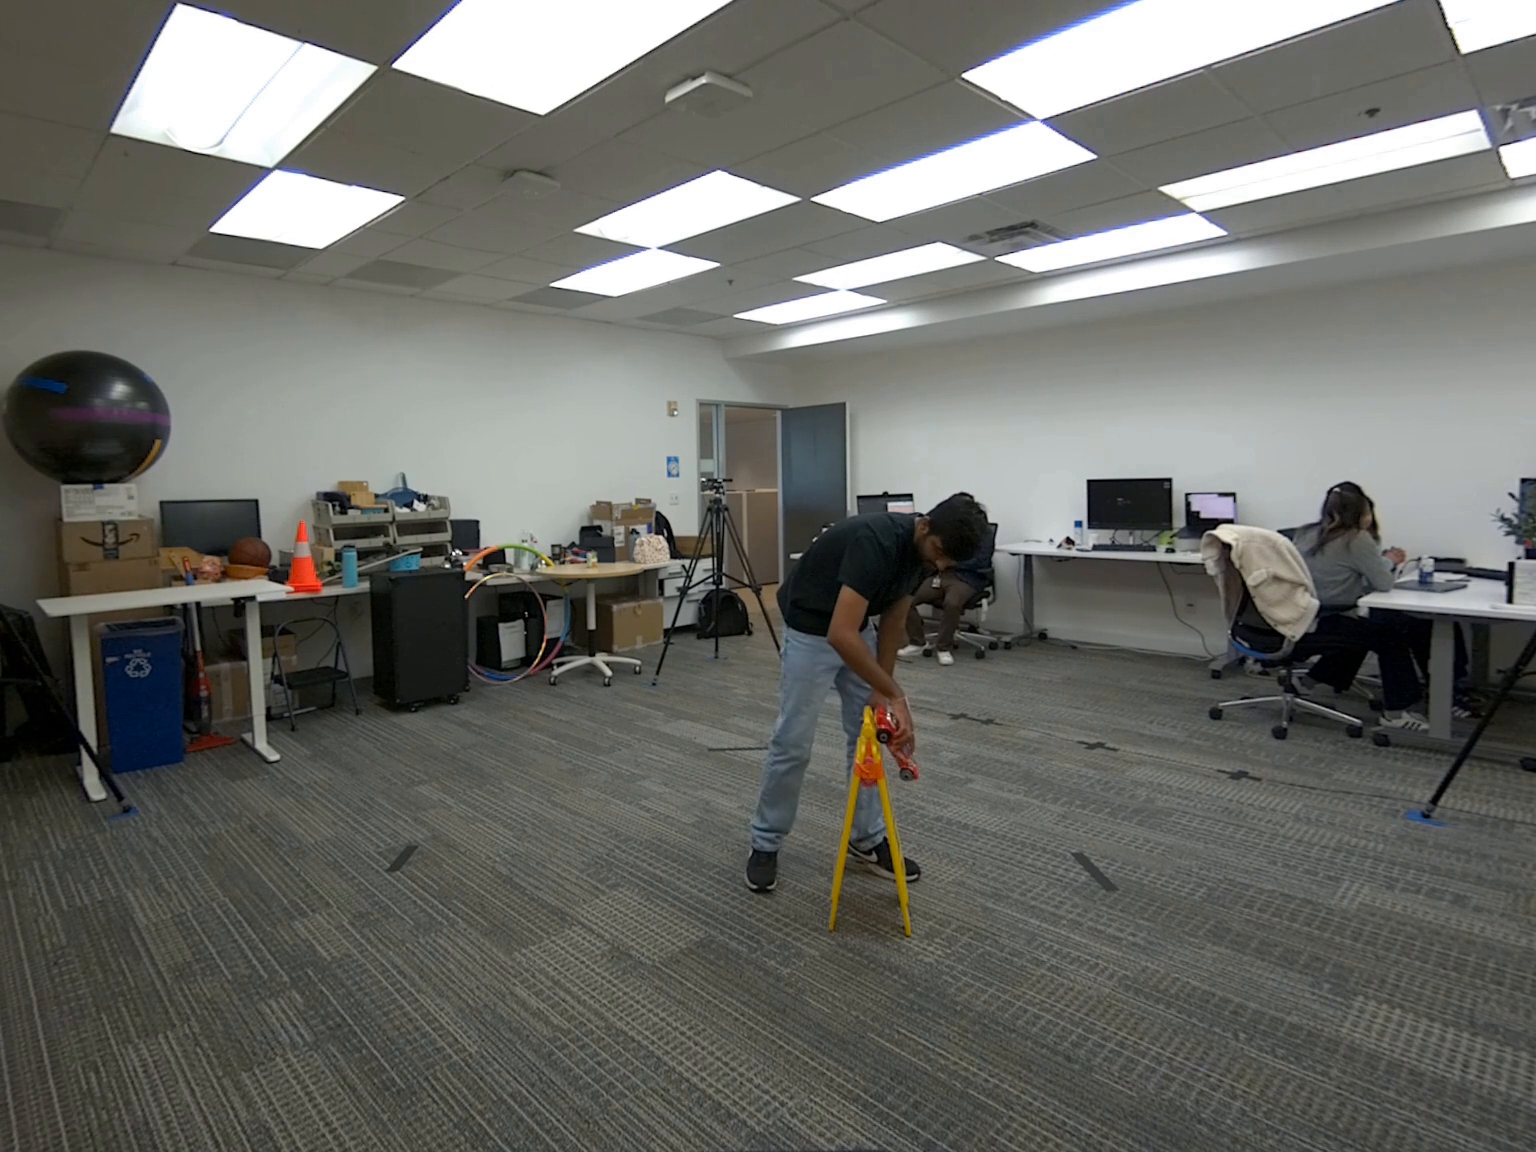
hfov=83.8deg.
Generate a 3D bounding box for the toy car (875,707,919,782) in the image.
[{"bbox_3d":[0.389,0.521,2.679,0.084,0.253,0.130,-19,6,10],"label":"toy car"}]
